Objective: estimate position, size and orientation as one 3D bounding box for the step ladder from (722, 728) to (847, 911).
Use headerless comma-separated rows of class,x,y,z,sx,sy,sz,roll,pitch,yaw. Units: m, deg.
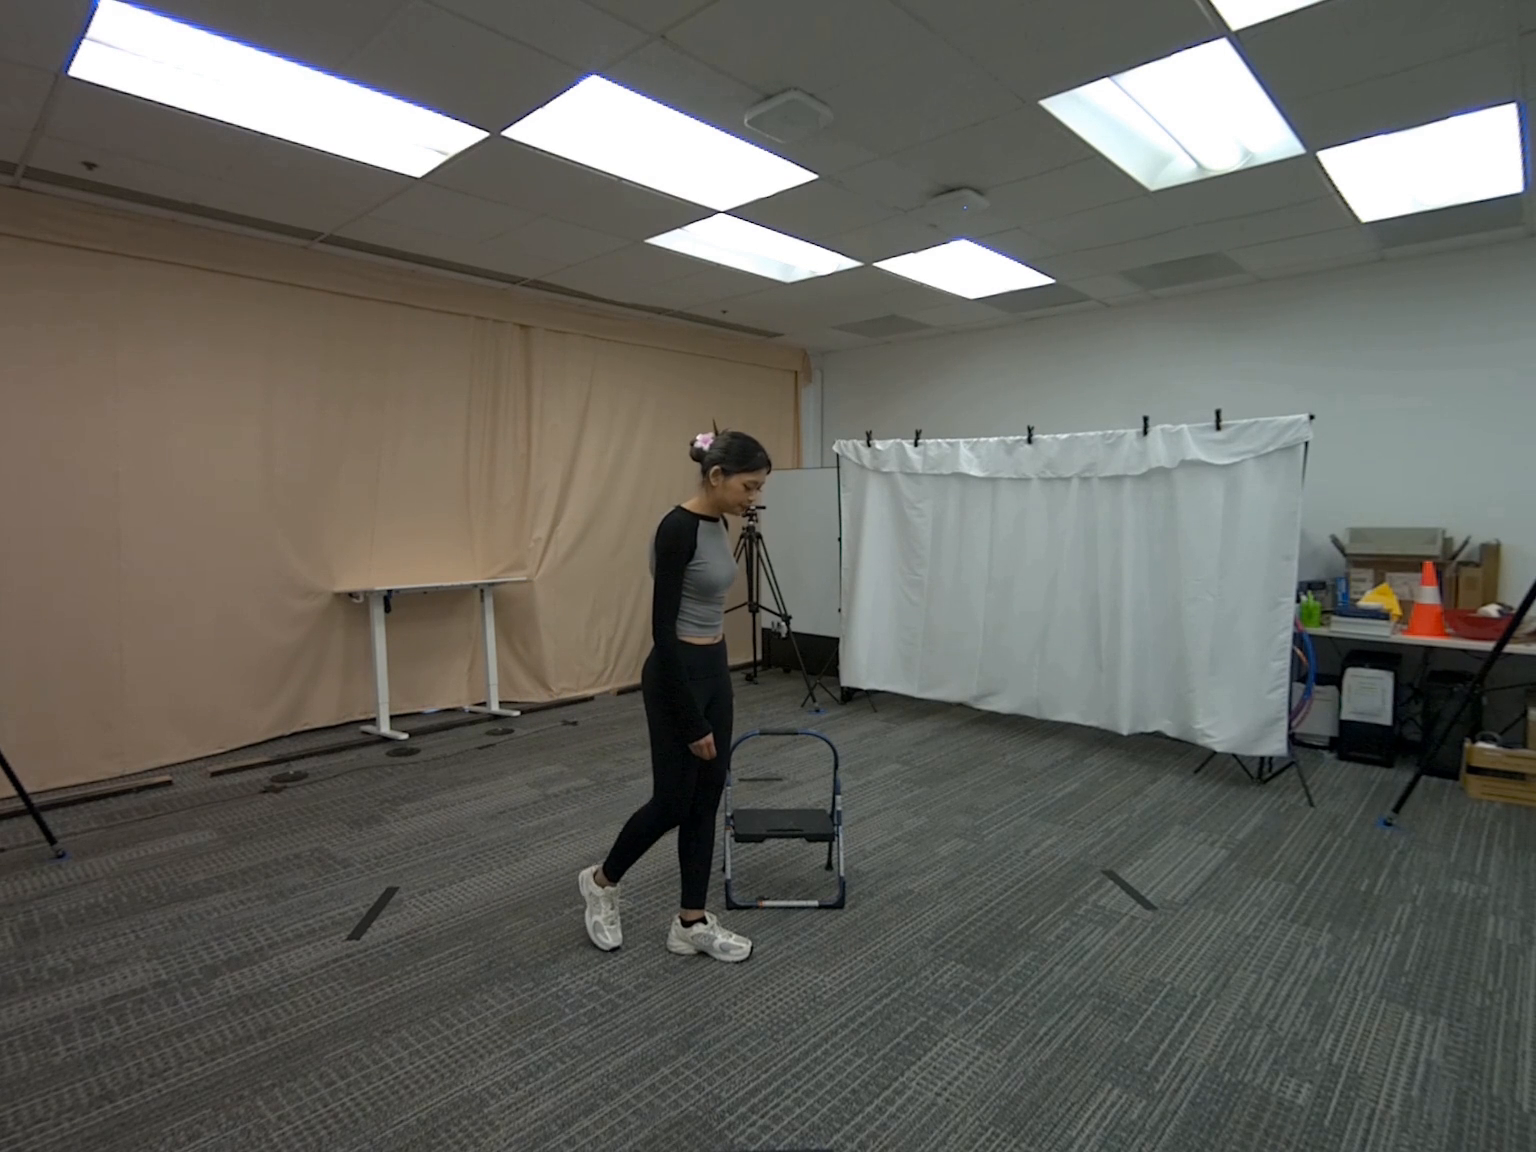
step ladder,0.051,0.836,3.055,0.430,0.605,0.351,0,3,-2
